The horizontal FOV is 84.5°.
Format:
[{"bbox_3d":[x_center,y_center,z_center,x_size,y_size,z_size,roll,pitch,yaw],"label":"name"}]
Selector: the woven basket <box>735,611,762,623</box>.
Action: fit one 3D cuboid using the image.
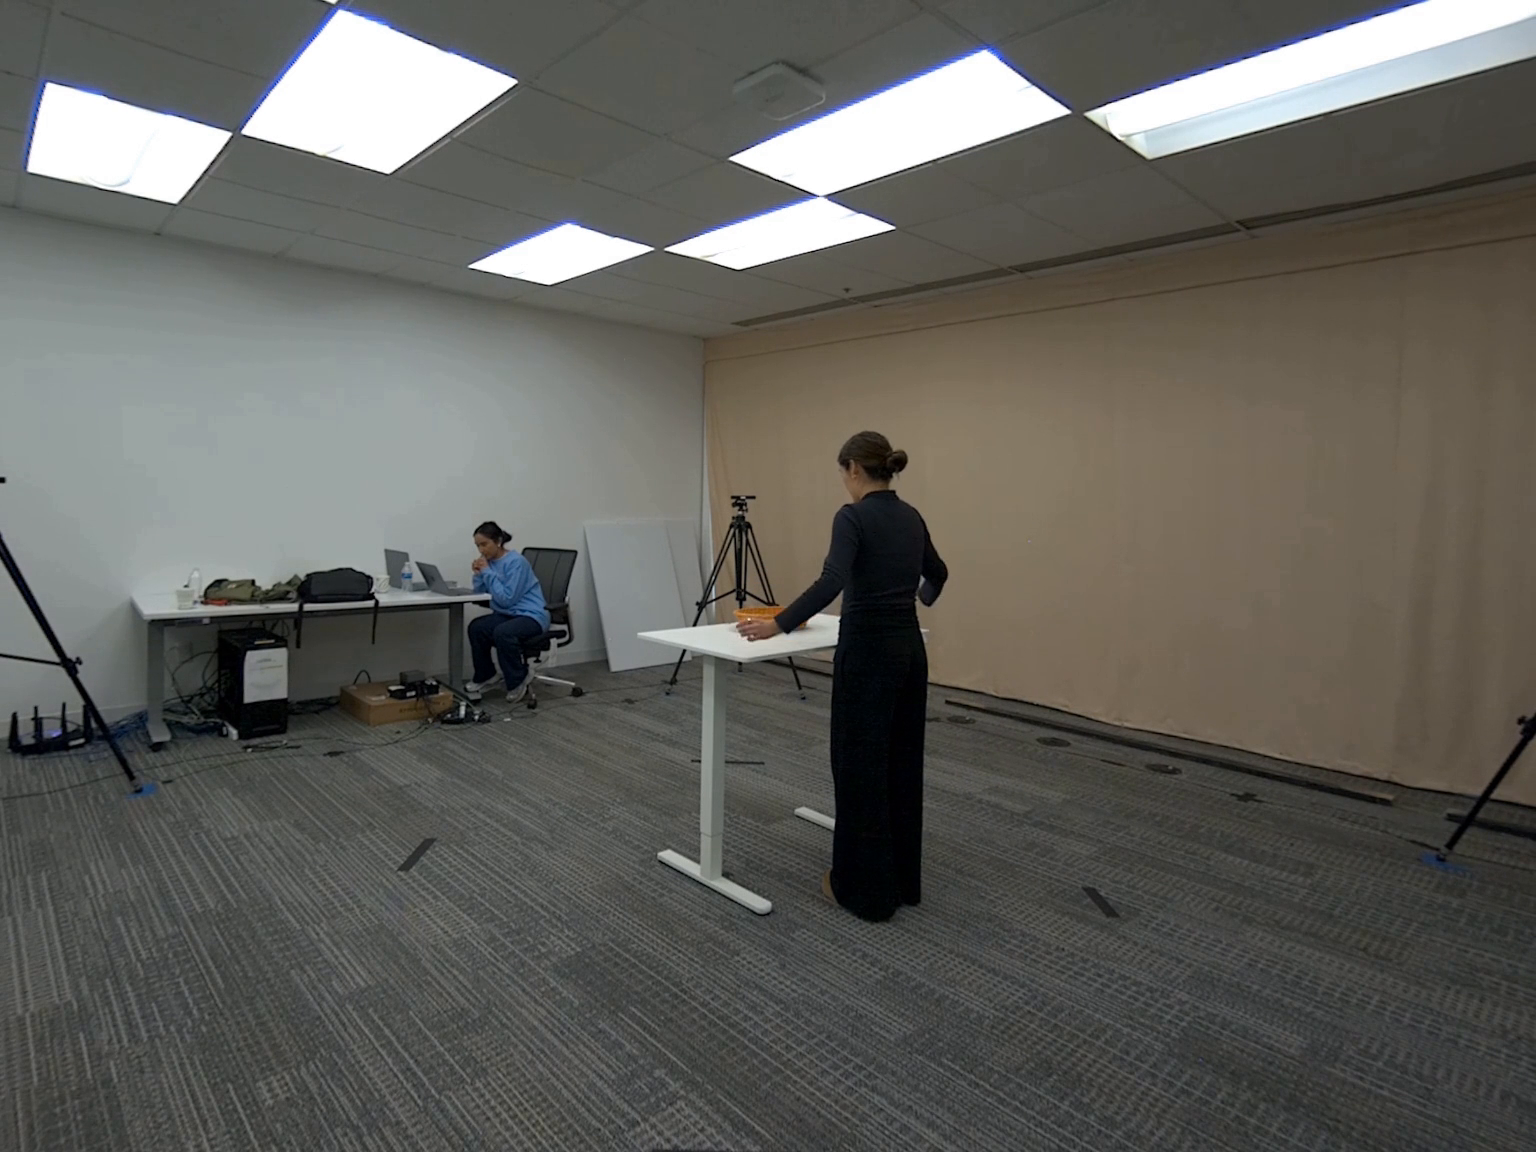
[{"bbox_3d":[0.028,0.179,3.298,0.342,0.073,0.259,-4,5,-44],"label":"woven basket"}]
